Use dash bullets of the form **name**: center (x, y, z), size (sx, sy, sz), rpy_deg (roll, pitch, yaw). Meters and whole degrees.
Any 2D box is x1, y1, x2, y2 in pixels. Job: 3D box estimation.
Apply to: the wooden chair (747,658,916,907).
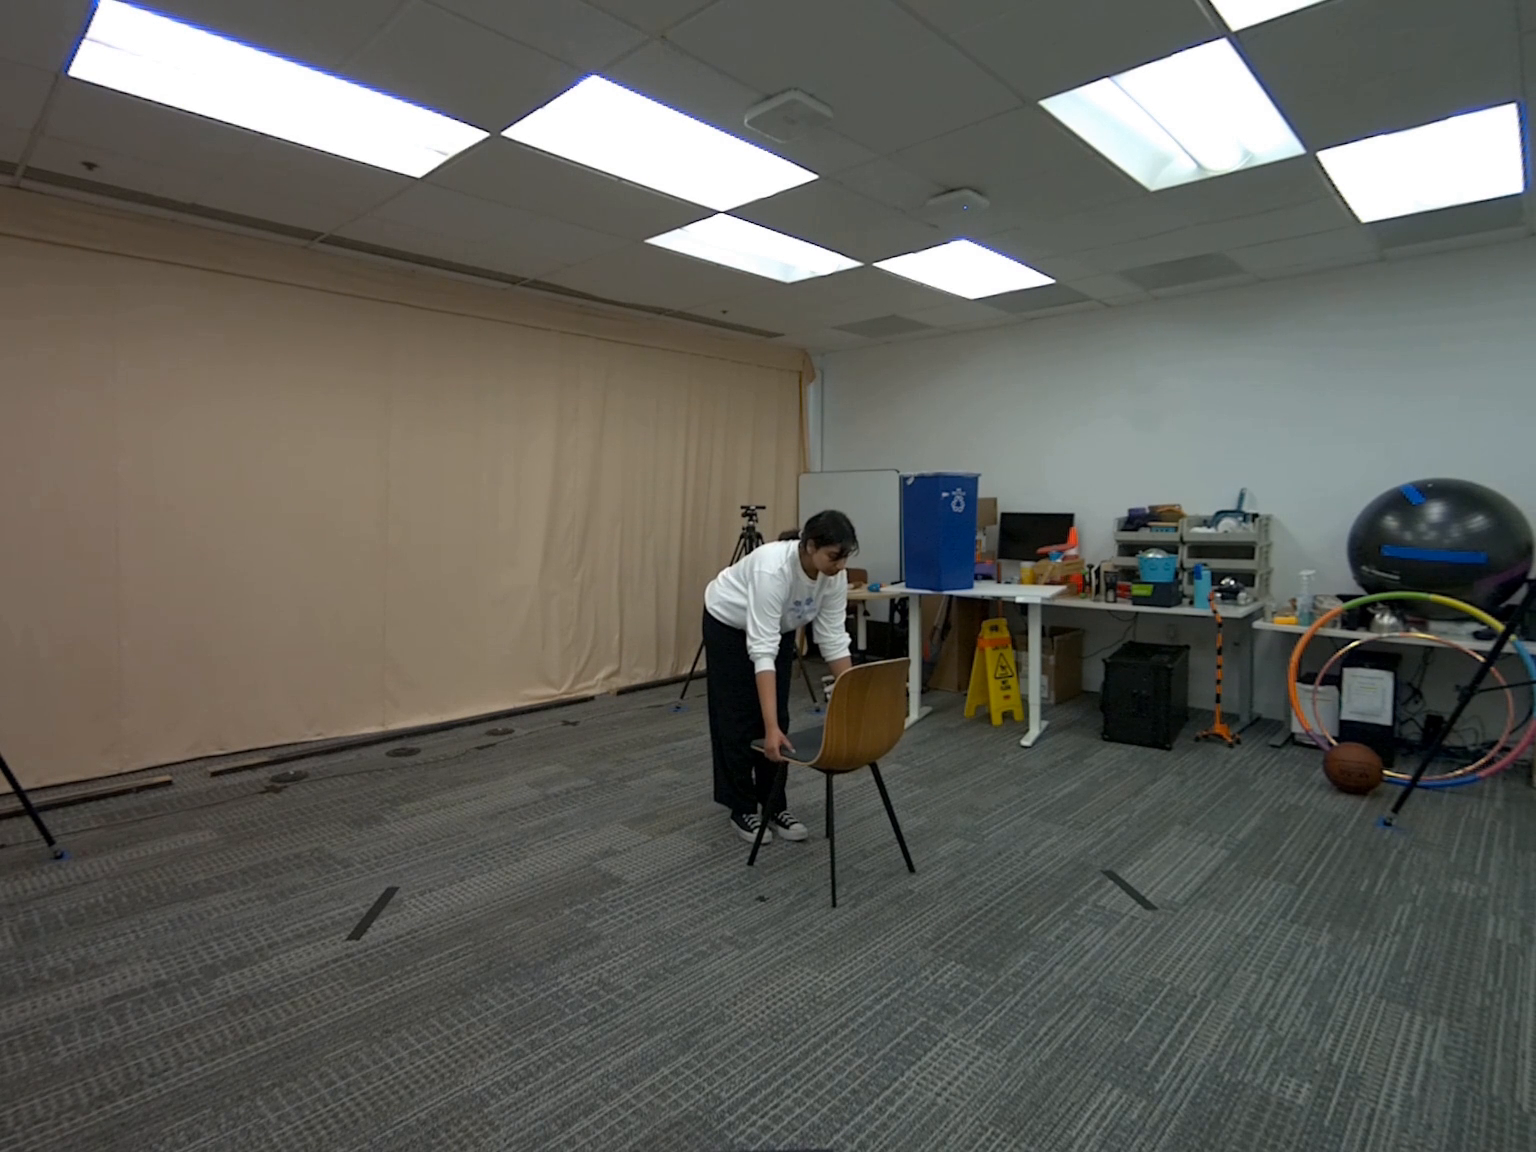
- **wooden chair**: center (0.237, 0.693, 3.204), size (0.463, 0.874, 0.541), rpy_deg (-3, 9, -42)
